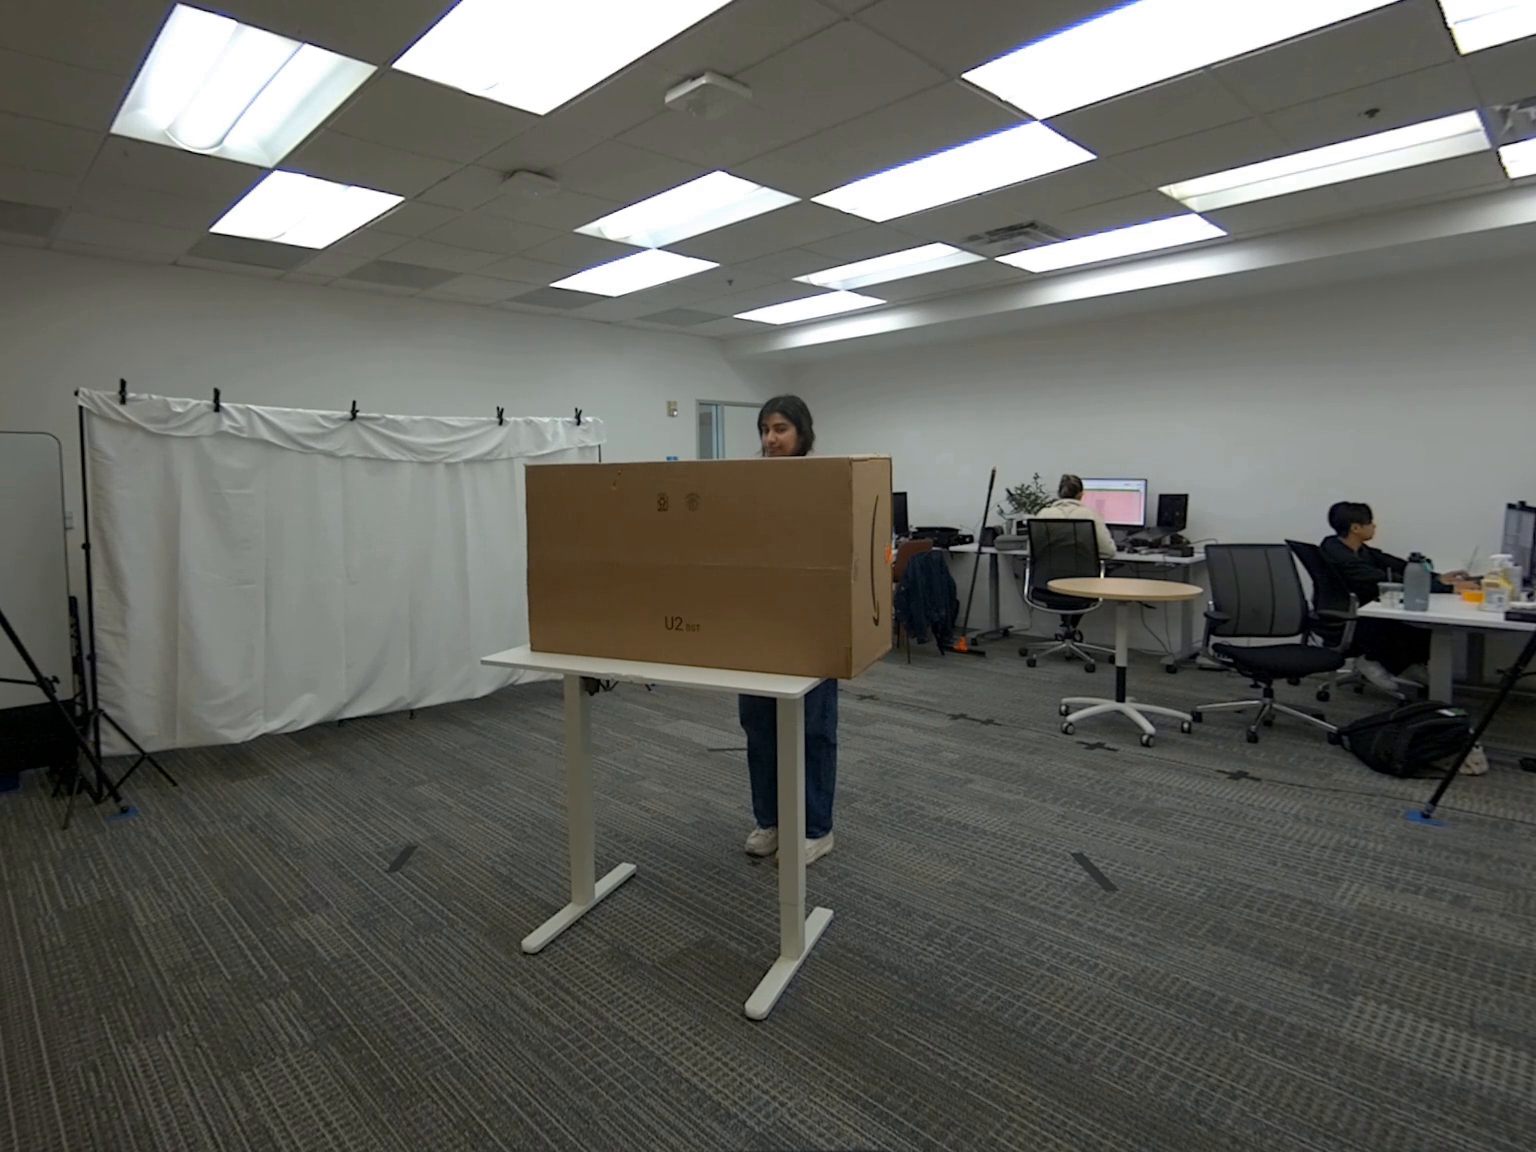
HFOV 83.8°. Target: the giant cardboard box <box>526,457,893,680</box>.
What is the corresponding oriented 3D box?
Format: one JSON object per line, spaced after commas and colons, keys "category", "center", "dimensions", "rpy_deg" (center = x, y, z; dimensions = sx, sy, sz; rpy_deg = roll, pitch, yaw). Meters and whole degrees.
{"category": "giant cardboard box", "center": [-0.199, -0.055, 2.559], "dimensions": [1.050, 0.575, 0.418], "rpy_deg": [2, 5, 26]}
